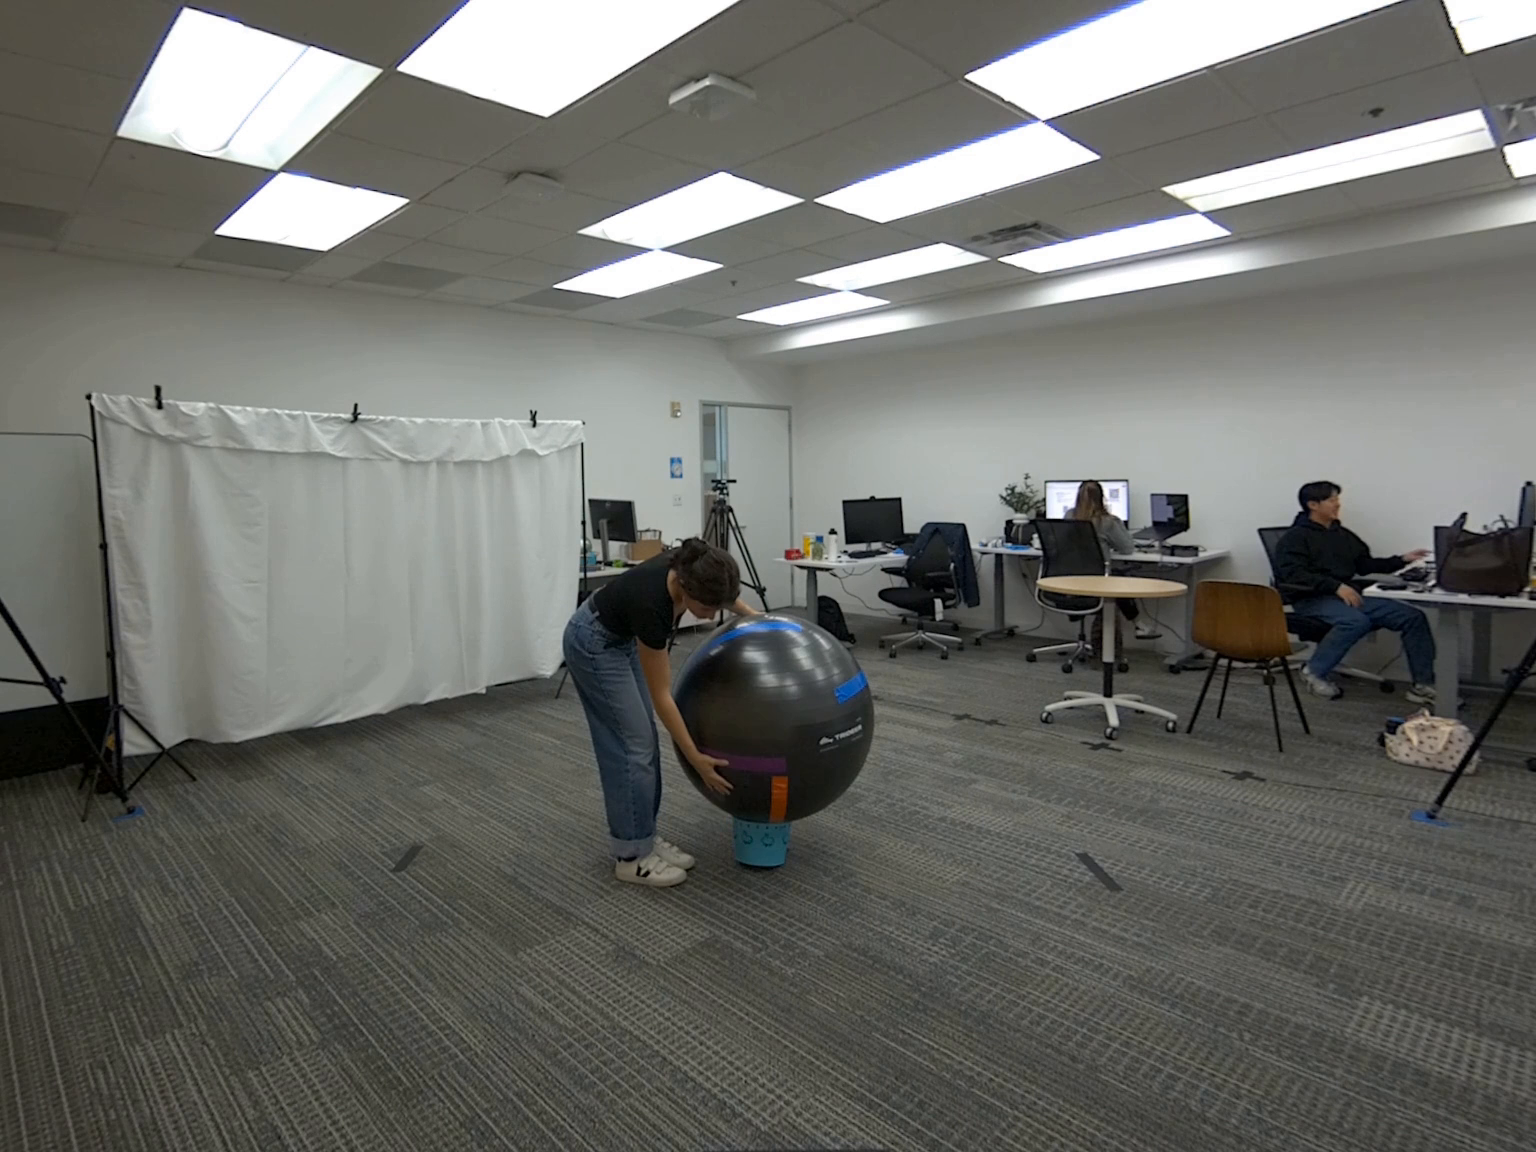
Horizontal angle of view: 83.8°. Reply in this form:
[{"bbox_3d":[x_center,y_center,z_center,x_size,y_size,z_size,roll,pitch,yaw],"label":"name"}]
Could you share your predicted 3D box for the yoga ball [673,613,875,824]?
[{"bbox_3d":[0.017,0.526,3.171,0.757,0.755,0.762,-1,5,-2],"label":"yoga ball"}]
